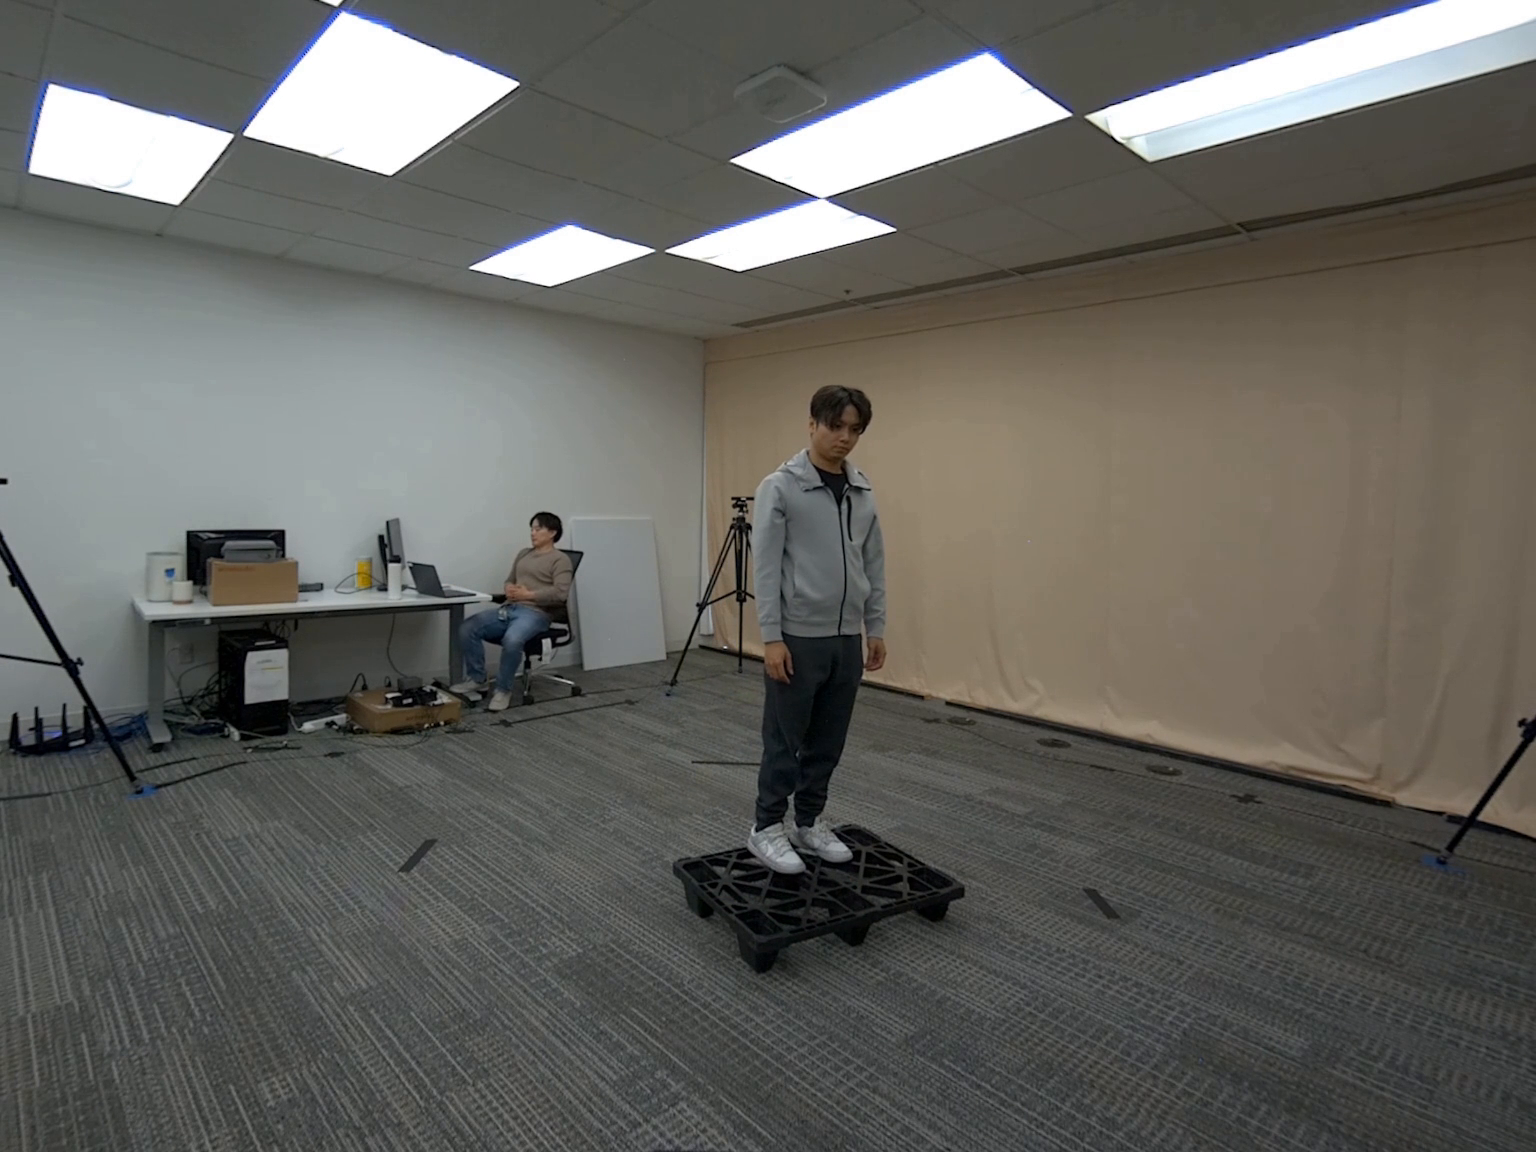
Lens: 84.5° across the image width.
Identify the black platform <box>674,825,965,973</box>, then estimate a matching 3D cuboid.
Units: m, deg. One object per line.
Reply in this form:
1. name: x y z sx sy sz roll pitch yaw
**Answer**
1. black platform: 0.147 1.072 2.845 0.789 0.143 0.619 -1 5 -30
